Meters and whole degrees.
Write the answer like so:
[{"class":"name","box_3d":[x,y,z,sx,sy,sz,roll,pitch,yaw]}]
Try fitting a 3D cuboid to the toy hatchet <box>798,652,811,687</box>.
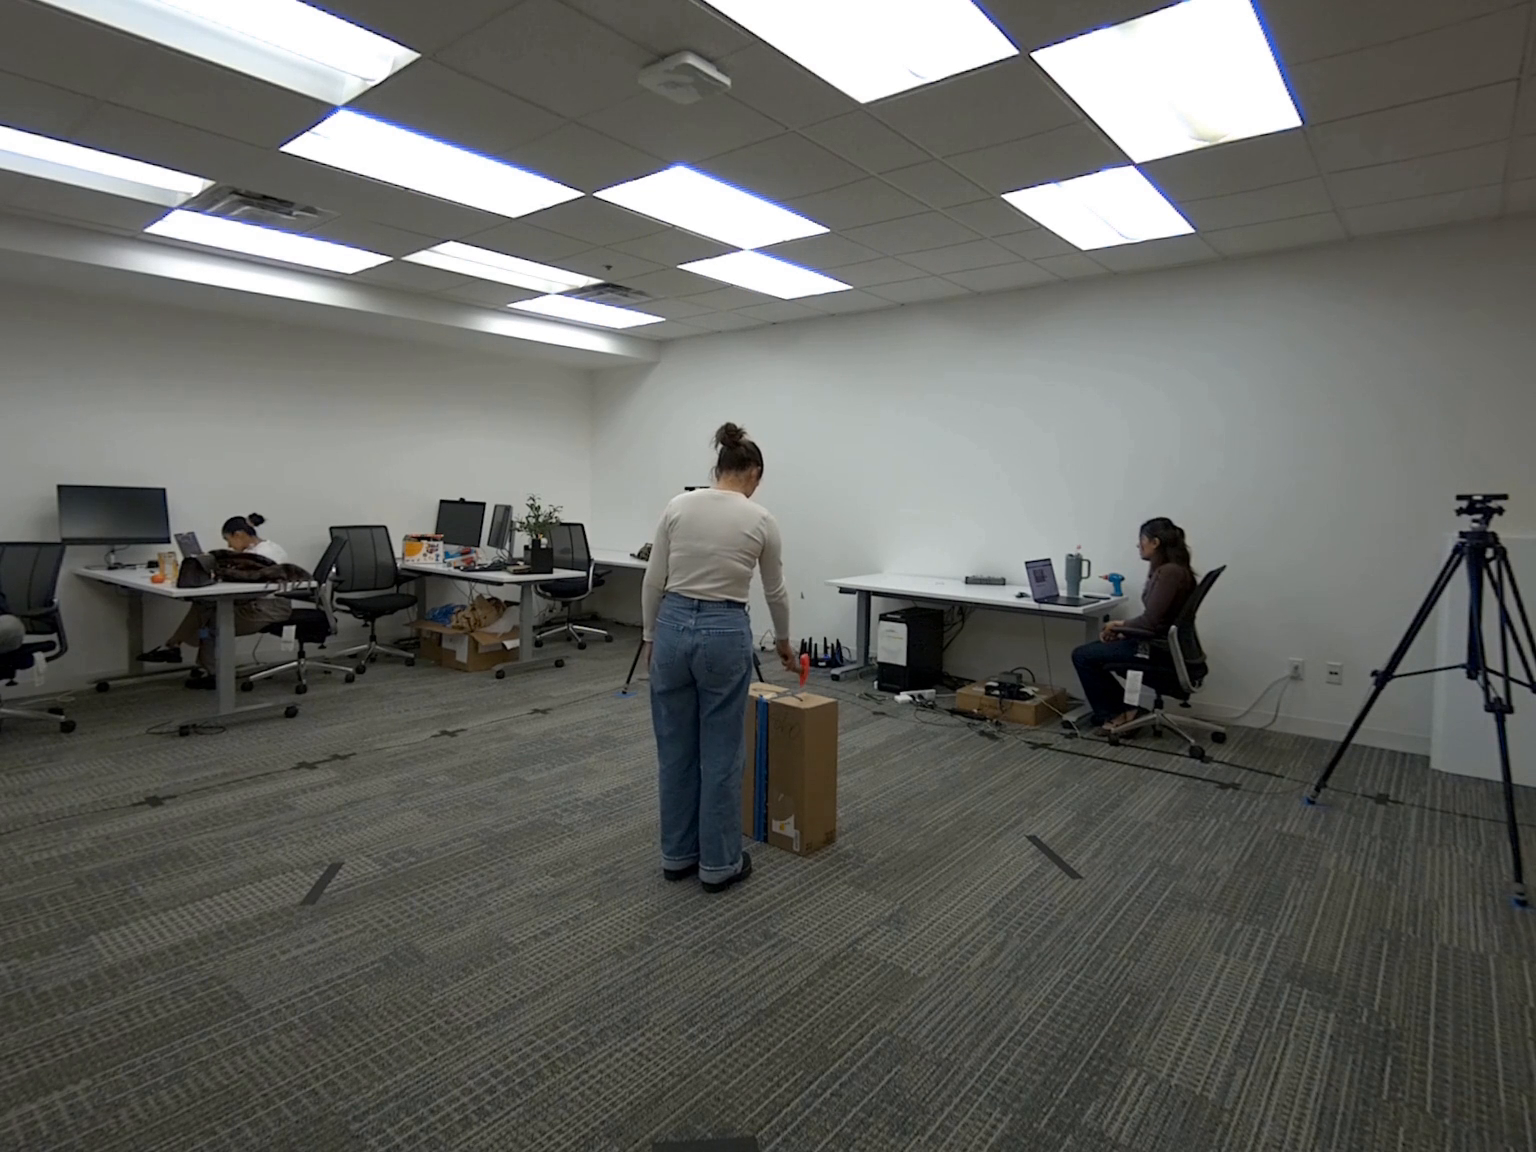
[{"class":"toy hatchet","box_3d":[0.105,0.332,3.355,0.030,0.133,0.259,6,-28,24]}]
